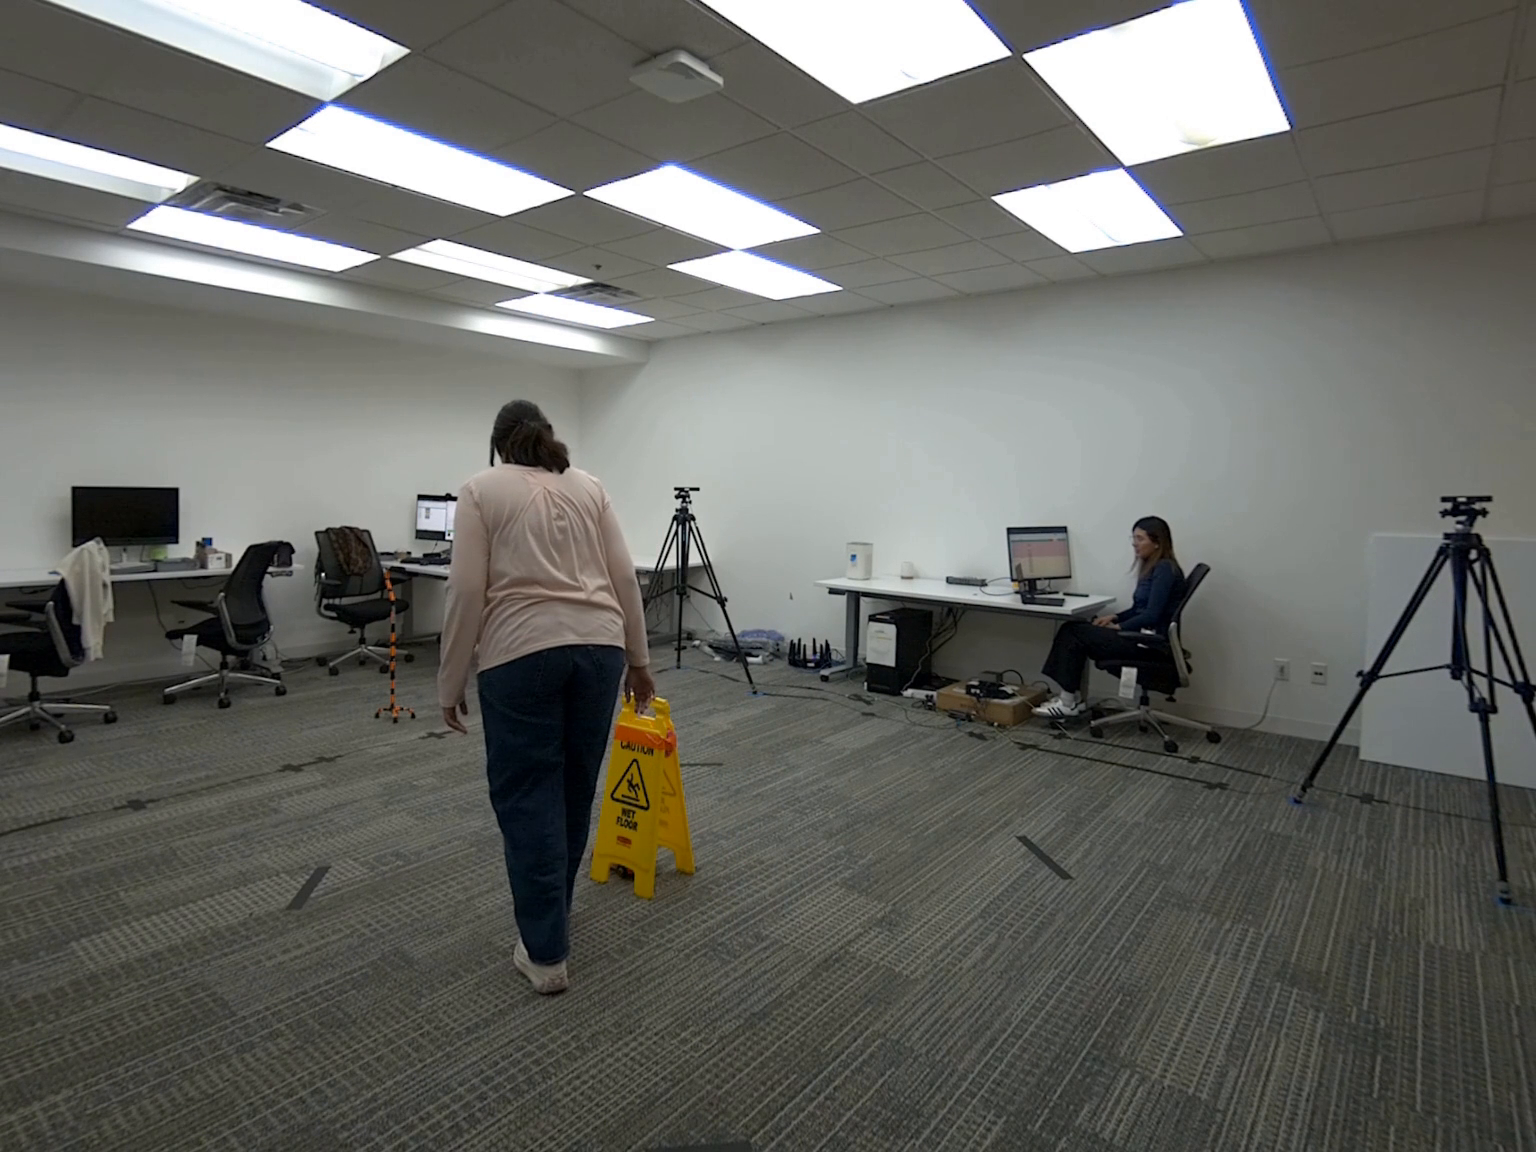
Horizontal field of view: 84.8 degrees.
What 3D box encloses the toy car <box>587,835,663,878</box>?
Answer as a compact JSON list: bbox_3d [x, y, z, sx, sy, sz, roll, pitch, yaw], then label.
[{"bbox_3d":[-0.532,1.029,3.098,0.261,0.083,0.126,-7,-3,39],"label":"toy car"}]
